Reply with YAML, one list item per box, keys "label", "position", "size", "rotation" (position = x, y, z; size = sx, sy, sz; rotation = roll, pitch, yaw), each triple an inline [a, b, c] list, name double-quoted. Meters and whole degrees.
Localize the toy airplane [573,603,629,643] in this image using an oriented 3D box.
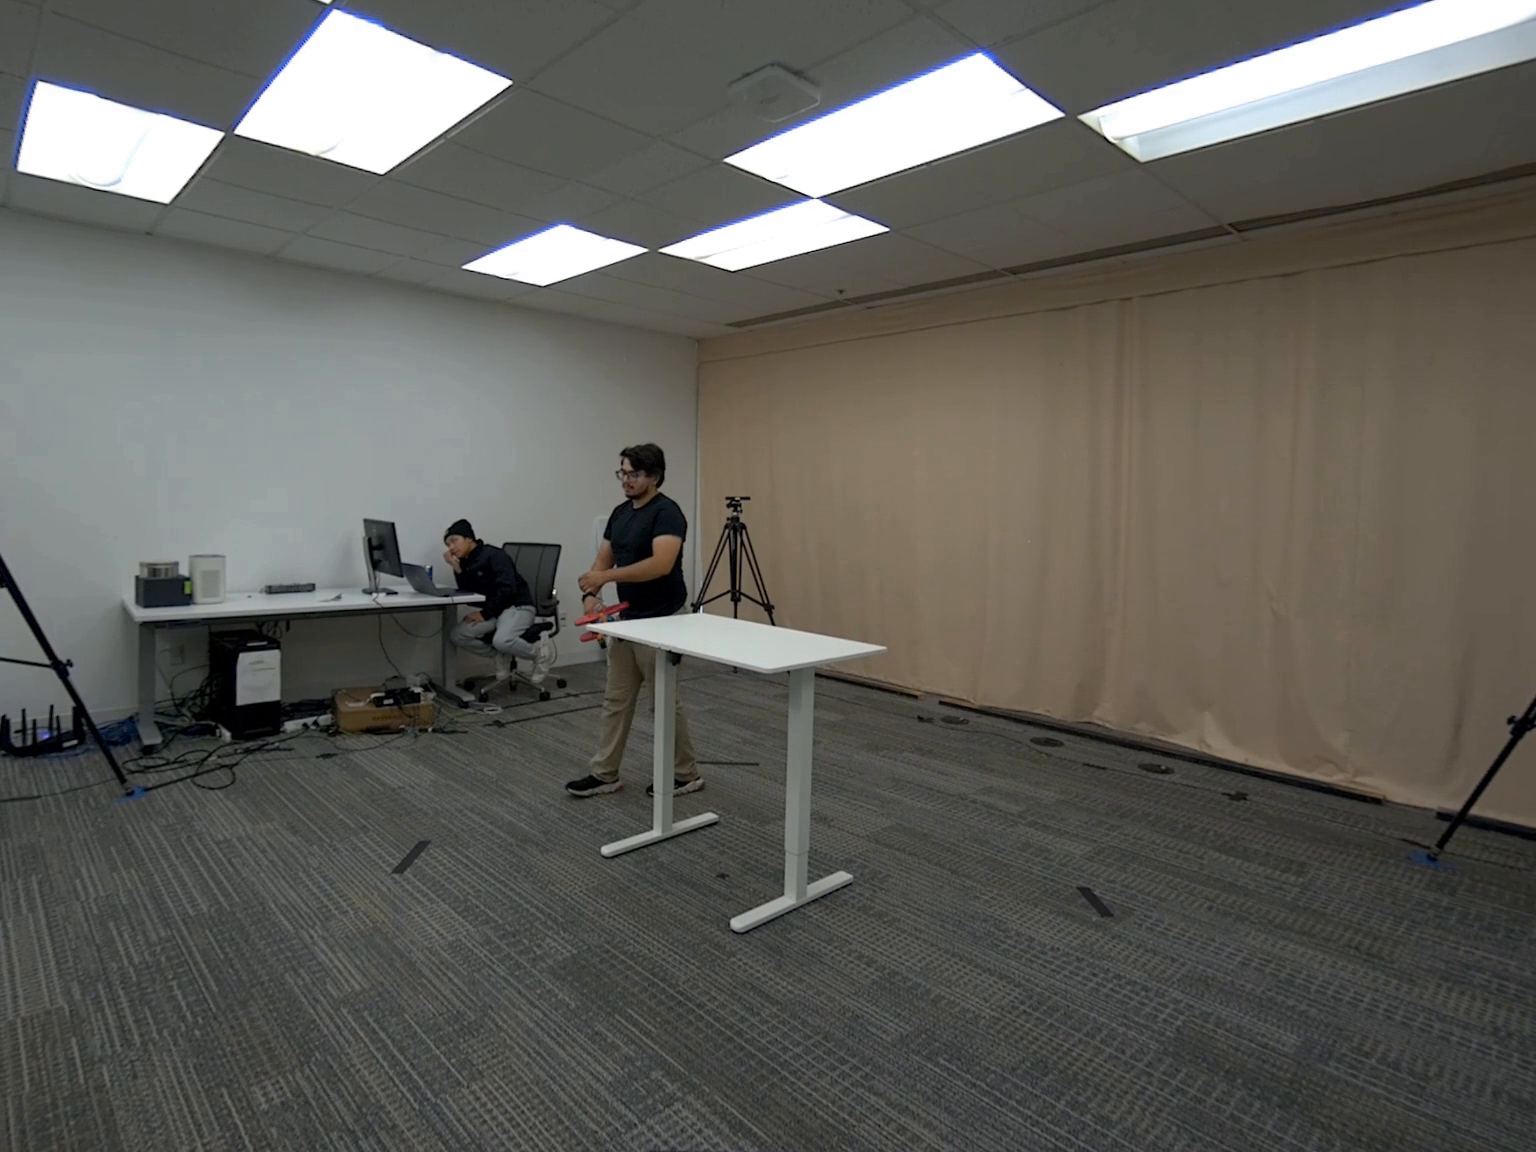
- label: "toy airplane"
  position: [-0.766, 0.207, 3.805]
  size: [0.267, 0.153, 0.250]
  rotation: [18, 44, 40]
